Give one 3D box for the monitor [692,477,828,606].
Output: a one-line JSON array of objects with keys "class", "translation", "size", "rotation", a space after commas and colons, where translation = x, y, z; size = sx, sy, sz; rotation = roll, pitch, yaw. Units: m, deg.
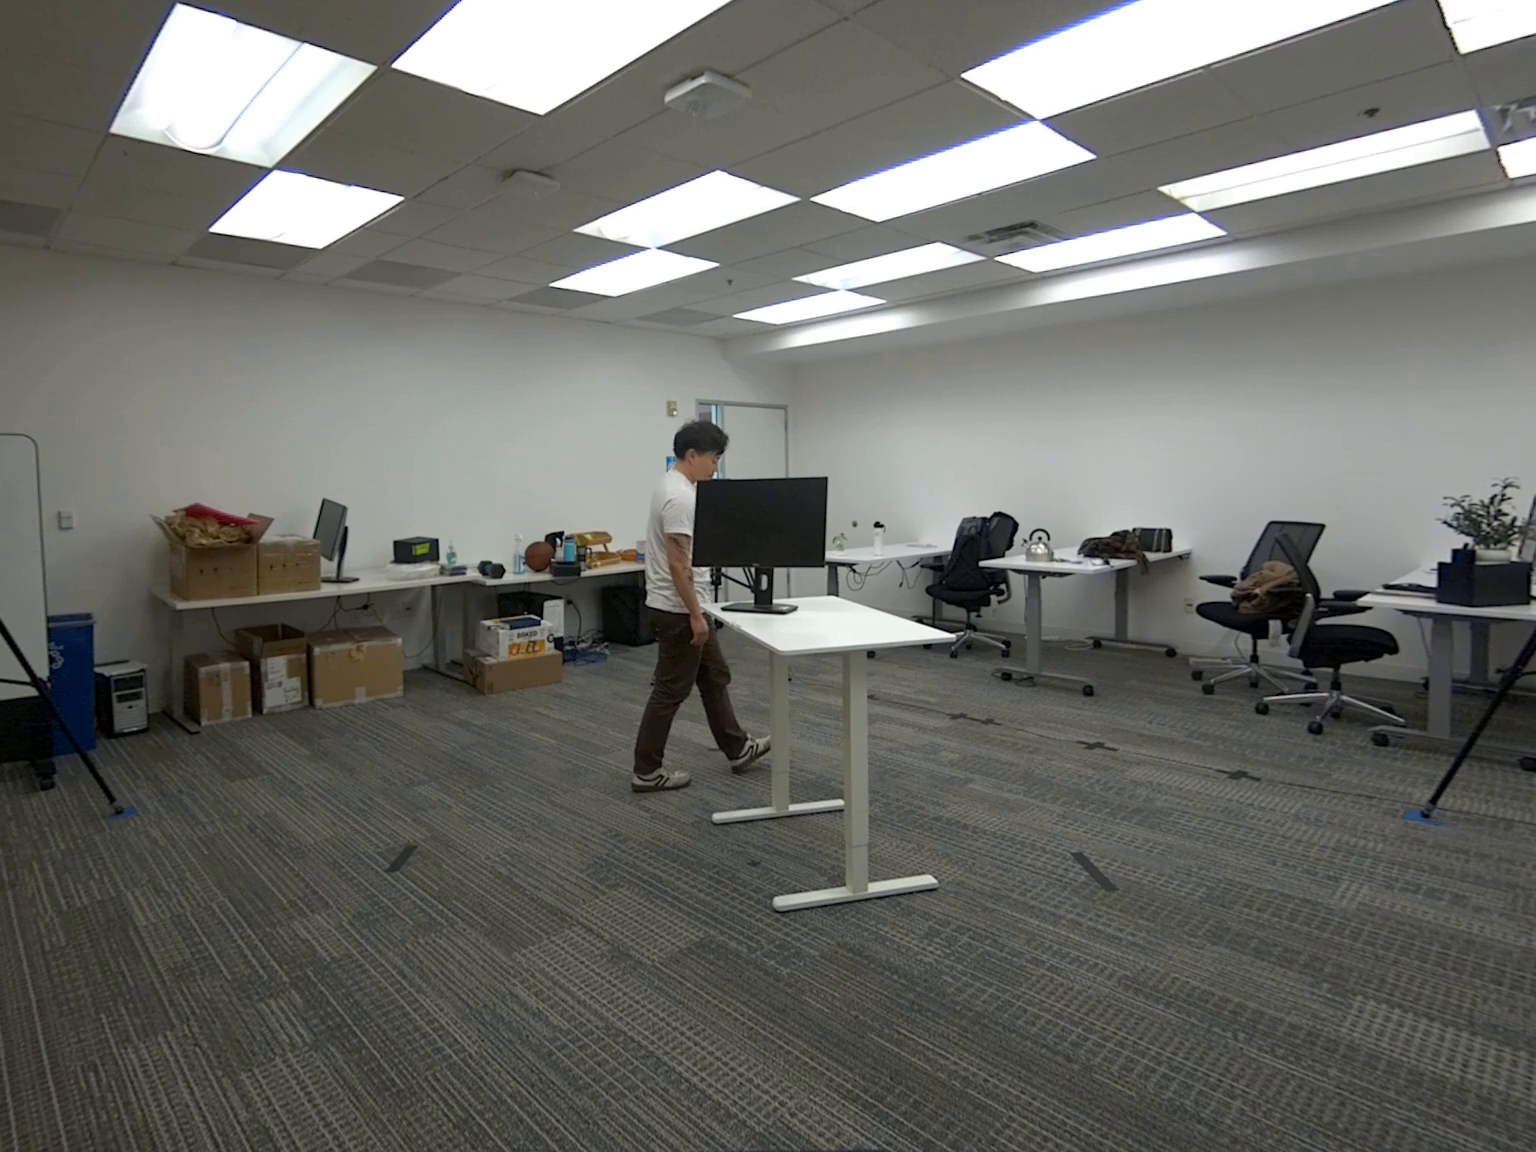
[{"class": "monitor", "translation": [-0.026, -0.120, 3.352], "size": [0.548, 0.521, 0.184], "rotation": [1, 2, 18]}]
